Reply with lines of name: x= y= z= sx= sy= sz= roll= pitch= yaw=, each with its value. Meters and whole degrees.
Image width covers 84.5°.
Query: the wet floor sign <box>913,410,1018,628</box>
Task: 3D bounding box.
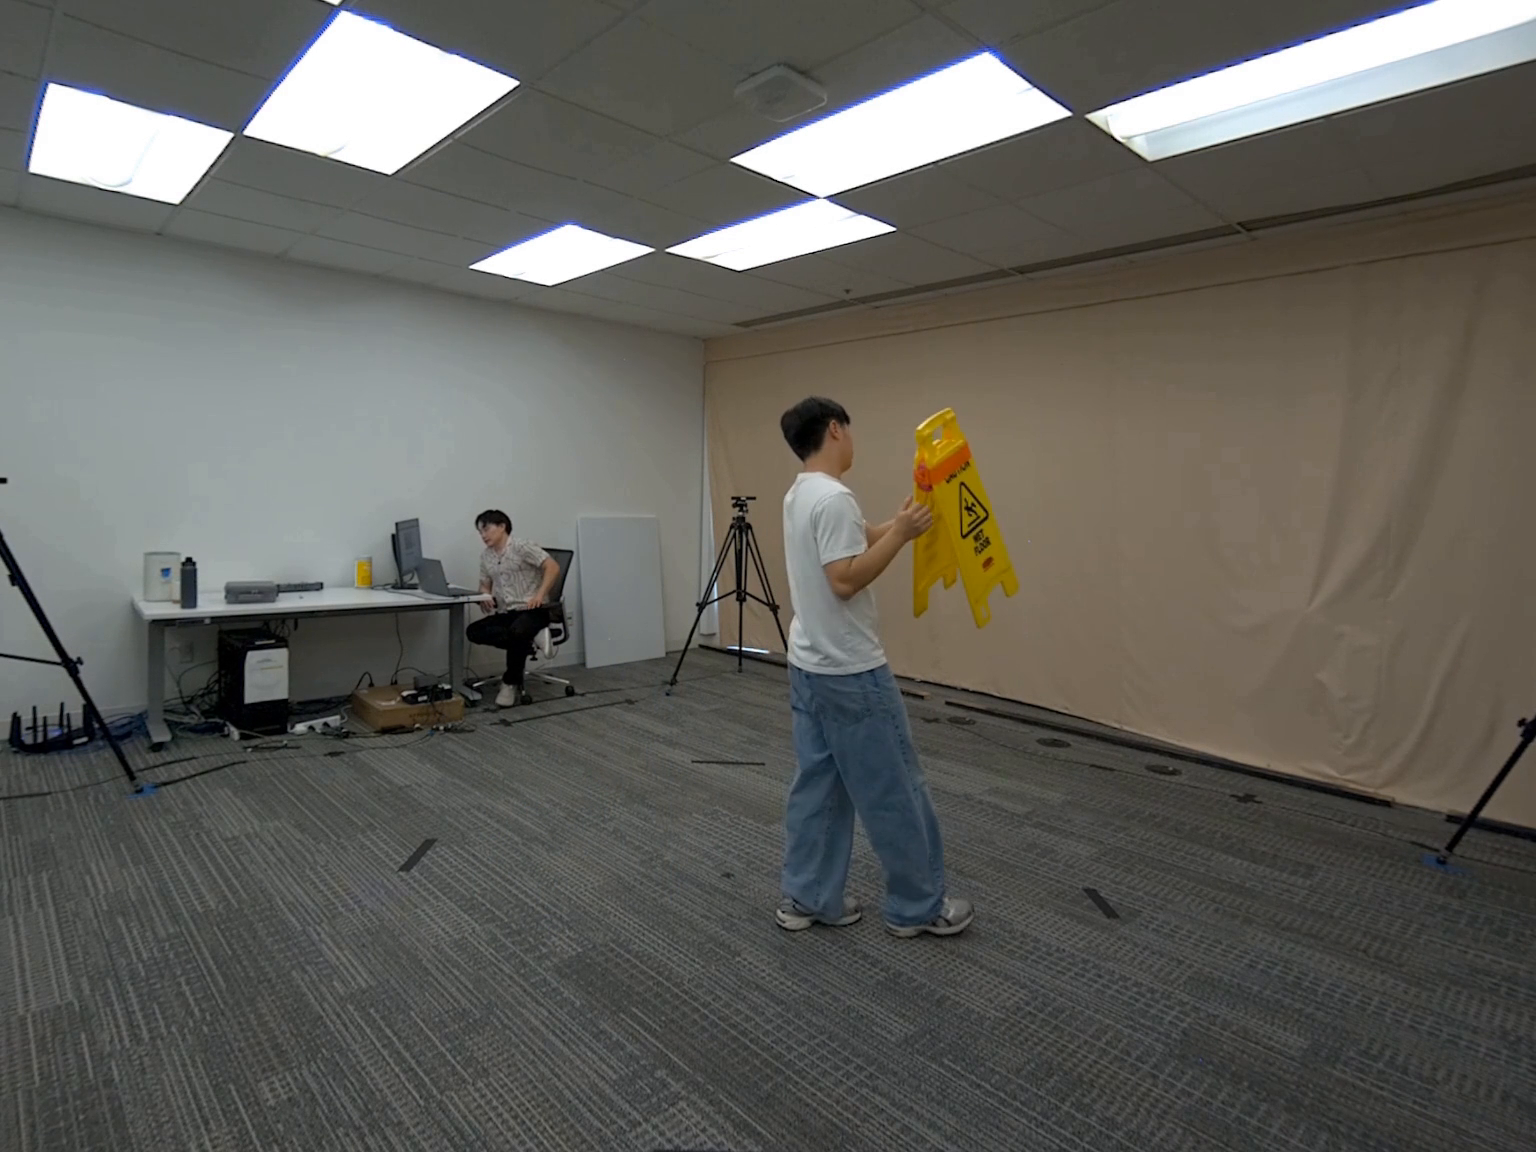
wet floor sign: x=0.568 y=-0.196 z=2.673 sx=0.297 sy=0.634 sz=0.280 roll=5 pitch=29 yaw=42
